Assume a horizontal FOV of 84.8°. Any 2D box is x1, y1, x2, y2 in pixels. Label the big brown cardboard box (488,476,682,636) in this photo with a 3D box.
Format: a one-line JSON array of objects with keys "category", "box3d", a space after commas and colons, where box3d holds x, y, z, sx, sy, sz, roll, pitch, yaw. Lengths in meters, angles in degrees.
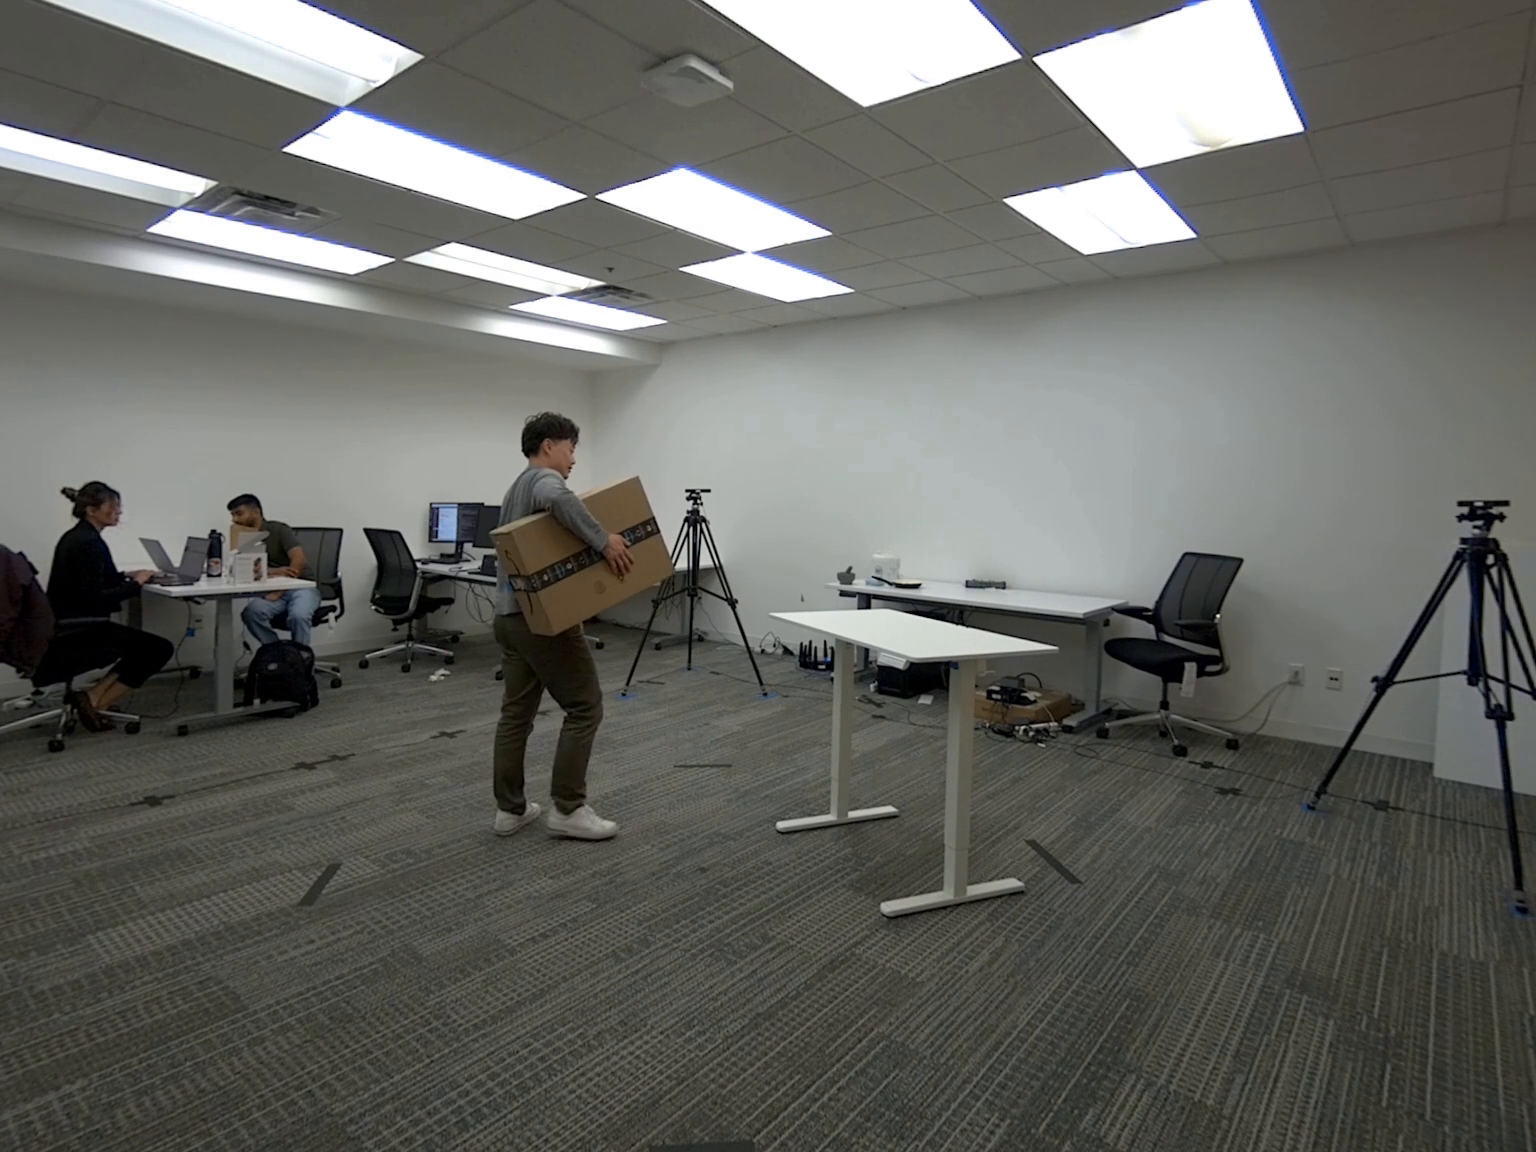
[{"category": "big brown cardboard box", "box3d": [-0.698, -0.082, 3.242, 0.581, 0.412, 0.240, -27, 13, -32]}]
